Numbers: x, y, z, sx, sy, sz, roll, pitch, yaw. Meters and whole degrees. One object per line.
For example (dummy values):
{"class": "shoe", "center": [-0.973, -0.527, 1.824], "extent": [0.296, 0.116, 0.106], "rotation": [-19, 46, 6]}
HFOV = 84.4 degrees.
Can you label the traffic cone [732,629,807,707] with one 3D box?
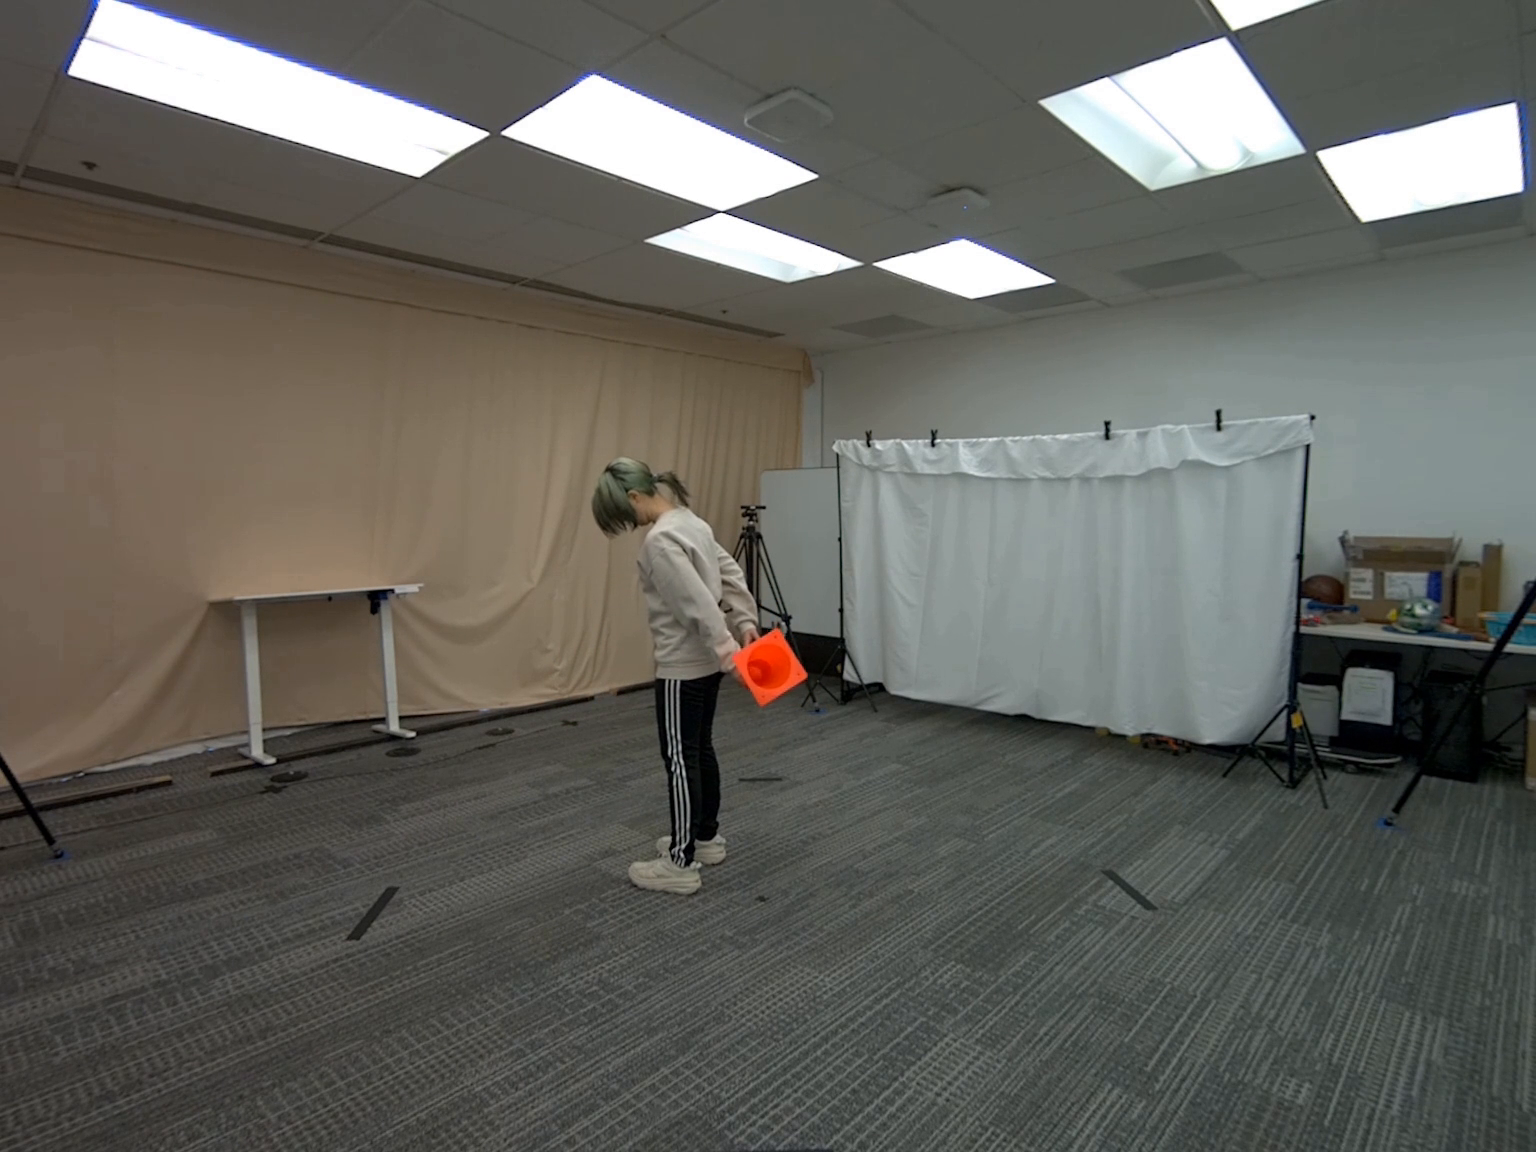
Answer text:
{"class": "traffic cone", "center": [-0.042, 0.359, 3.058], "extent": [0.201, 0.207, 0.385], "rotation": [-32, -6, -19]}
